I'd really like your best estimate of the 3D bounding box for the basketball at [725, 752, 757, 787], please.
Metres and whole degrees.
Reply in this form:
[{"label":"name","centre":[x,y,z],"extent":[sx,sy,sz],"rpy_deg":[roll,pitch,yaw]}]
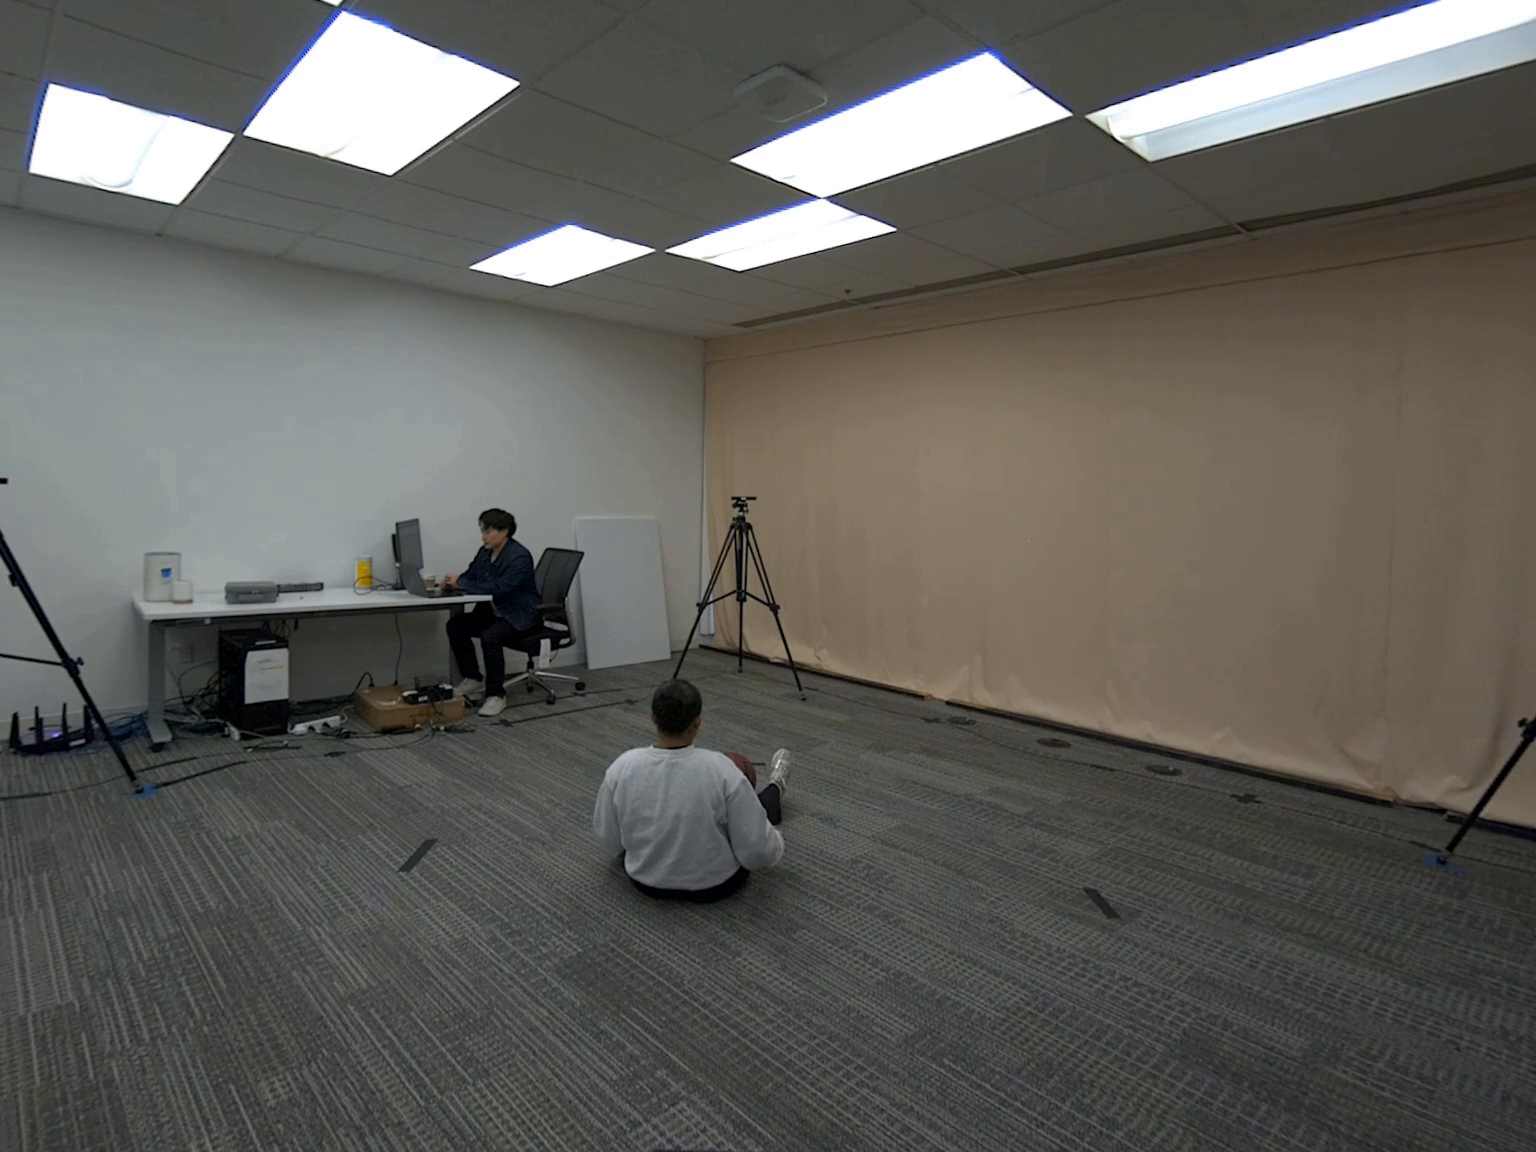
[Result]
[{"label":"basketball","centre":[-0.180,0.926,3.825],"extent":[0.236,0.235,0.237],"rpy_deg":[1,4,-1]}]
